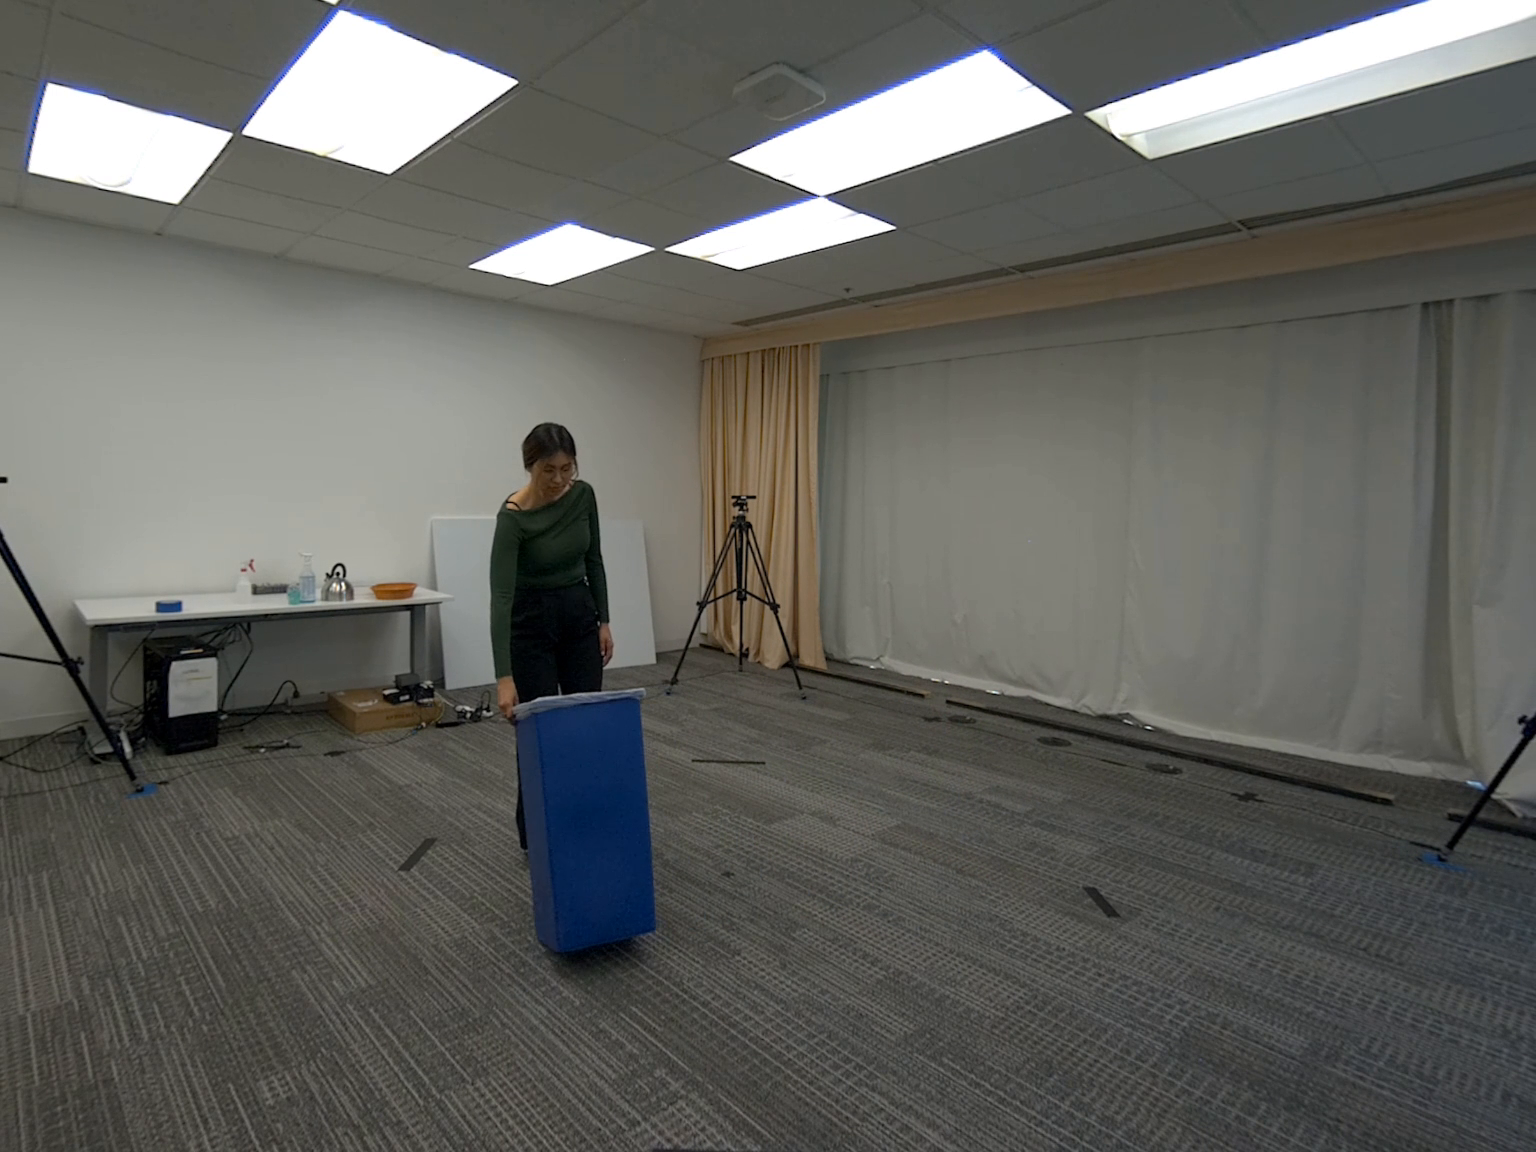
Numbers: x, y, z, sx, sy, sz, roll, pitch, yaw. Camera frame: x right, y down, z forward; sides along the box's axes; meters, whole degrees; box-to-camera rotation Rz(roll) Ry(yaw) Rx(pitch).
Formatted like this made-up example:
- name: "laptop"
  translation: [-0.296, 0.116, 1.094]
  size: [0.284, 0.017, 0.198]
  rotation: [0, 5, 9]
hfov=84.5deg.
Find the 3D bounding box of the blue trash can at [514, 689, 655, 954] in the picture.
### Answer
- name: "blue trash can"
  translation: [-0.575, 0.751, 2.647]
  size: [0.371, 0.721, 0.377]
  rotation: [-2, -14, -28]
